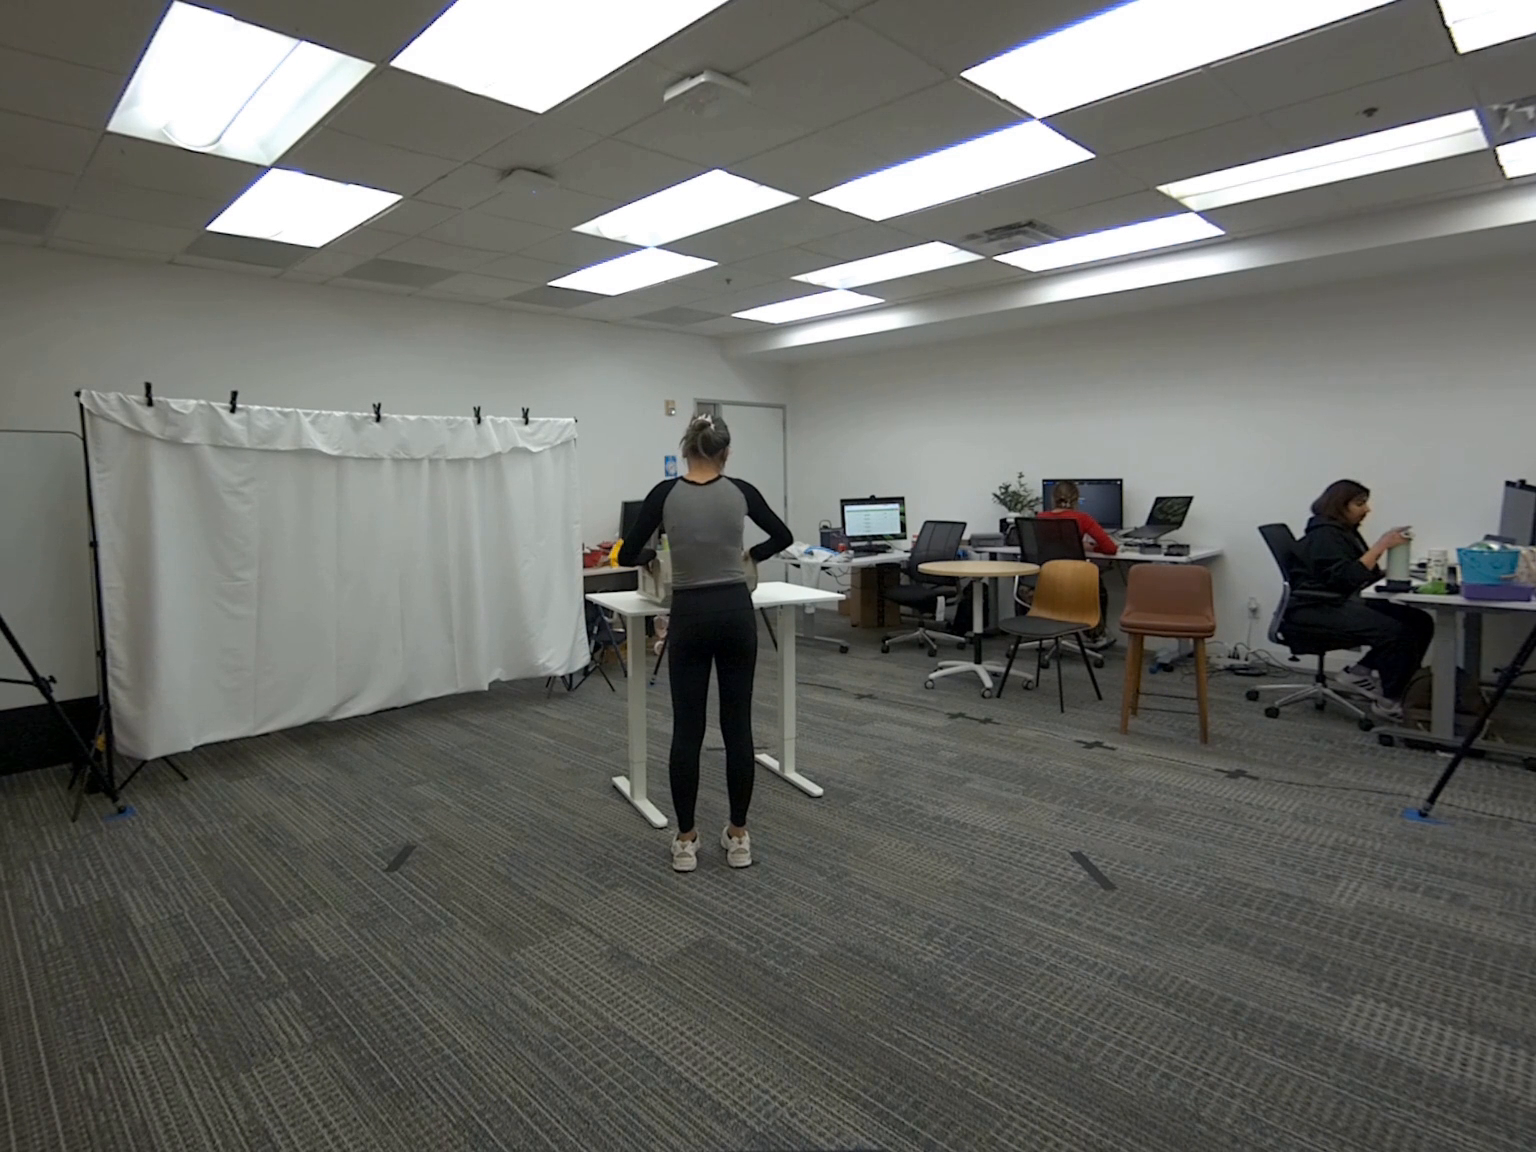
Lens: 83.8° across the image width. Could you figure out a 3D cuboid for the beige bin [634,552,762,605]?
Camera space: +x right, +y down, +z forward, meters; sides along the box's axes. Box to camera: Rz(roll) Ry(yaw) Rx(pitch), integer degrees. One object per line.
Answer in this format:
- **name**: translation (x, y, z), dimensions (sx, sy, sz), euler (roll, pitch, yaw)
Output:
- **beige bin**: translation (-0.306, -0.006, 3.599), dimensions (0.414, 0.188, 0.385), euler (-4, 4, -23)
